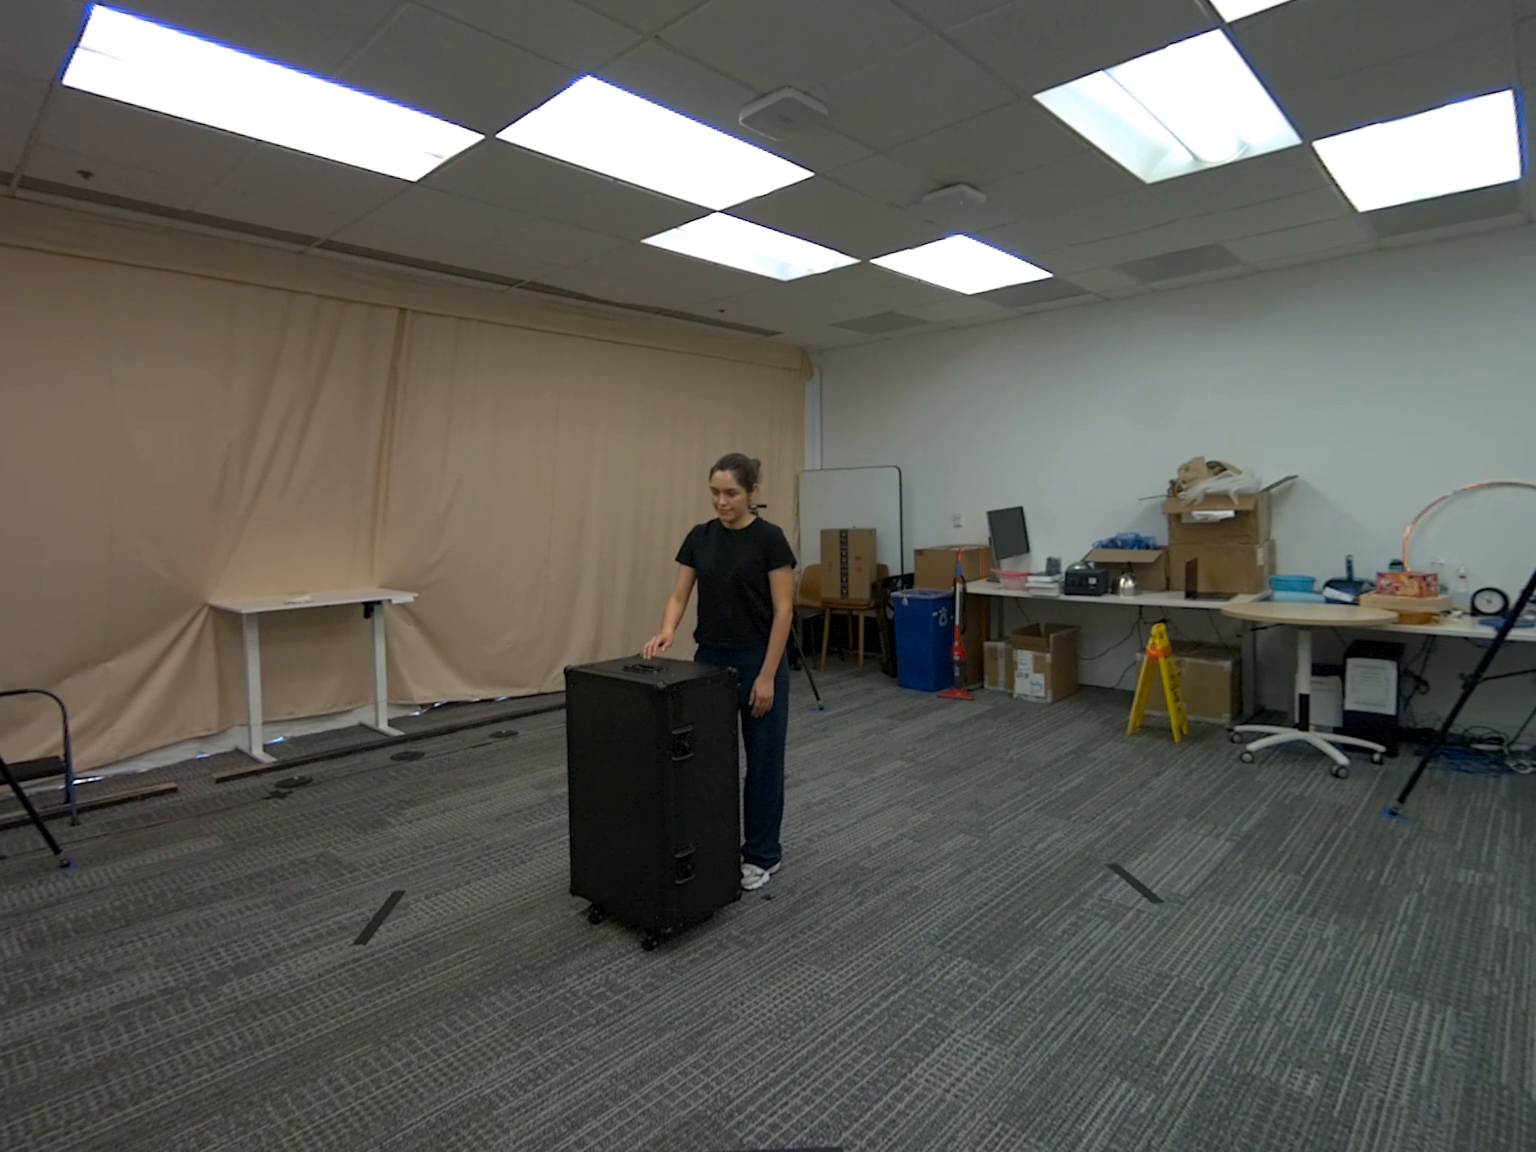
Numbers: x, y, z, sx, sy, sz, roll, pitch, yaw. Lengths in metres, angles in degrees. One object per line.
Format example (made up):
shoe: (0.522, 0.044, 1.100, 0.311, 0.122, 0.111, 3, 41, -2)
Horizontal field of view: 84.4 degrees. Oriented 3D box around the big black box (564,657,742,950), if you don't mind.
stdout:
big black box: (-0.376, 0.735, 2.858, 0.538, 0.860, 0.384, 1, 3, 41)
